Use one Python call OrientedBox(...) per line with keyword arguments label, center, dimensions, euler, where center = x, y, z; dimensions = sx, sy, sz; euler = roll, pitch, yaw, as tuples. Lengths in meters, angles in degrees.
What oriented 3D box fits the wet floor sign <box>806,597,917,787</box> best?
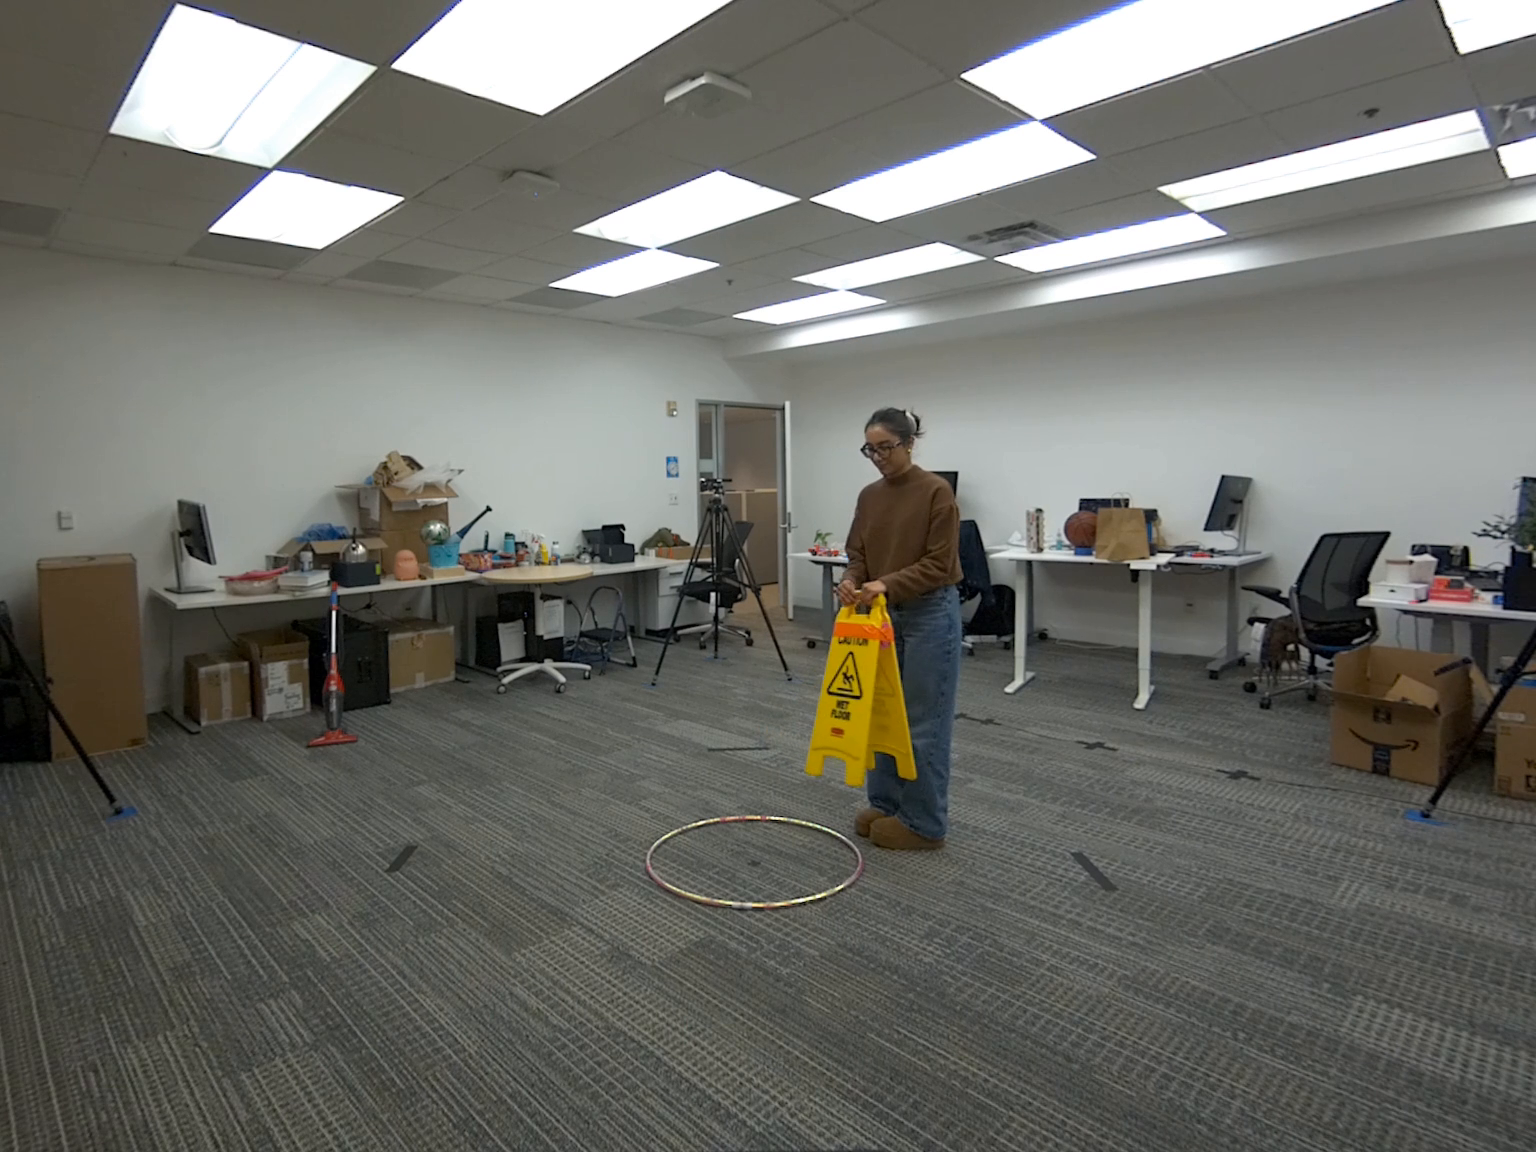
OrientedBox(label="wet floor sign", center=(0.334, 0.378, 3.033), dimensions=(0.281, 0.649, 0.289), euler=(4, -6, -36))
